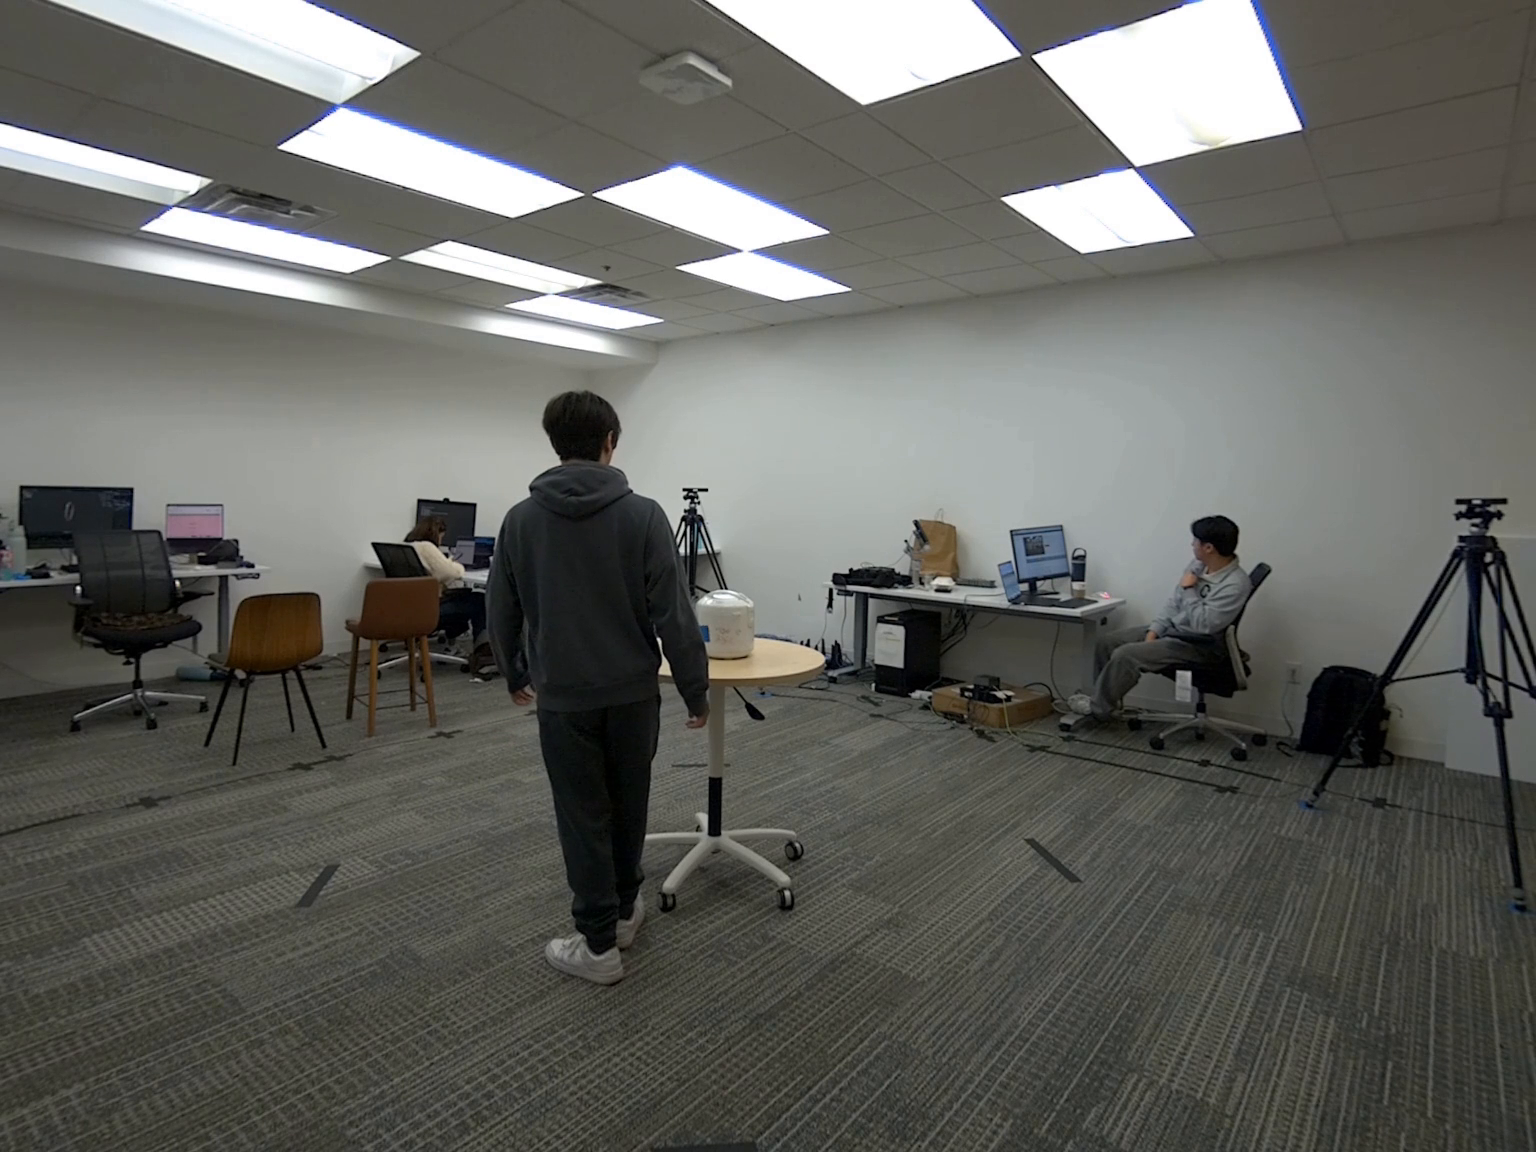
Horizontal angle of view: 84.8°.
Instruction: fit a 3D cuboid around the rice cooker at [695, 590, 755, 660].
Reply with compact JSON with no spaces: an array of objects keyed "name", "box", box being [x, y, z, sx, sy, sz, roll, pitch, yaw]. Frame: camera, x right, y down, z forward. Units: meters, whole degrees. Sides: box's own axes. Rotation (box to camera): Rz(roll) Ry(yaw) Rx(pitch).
[{"name":"rice cooker","box":[-0.163,0.160,3.041,0.227,0.231,0.212,4,7,28]}]
